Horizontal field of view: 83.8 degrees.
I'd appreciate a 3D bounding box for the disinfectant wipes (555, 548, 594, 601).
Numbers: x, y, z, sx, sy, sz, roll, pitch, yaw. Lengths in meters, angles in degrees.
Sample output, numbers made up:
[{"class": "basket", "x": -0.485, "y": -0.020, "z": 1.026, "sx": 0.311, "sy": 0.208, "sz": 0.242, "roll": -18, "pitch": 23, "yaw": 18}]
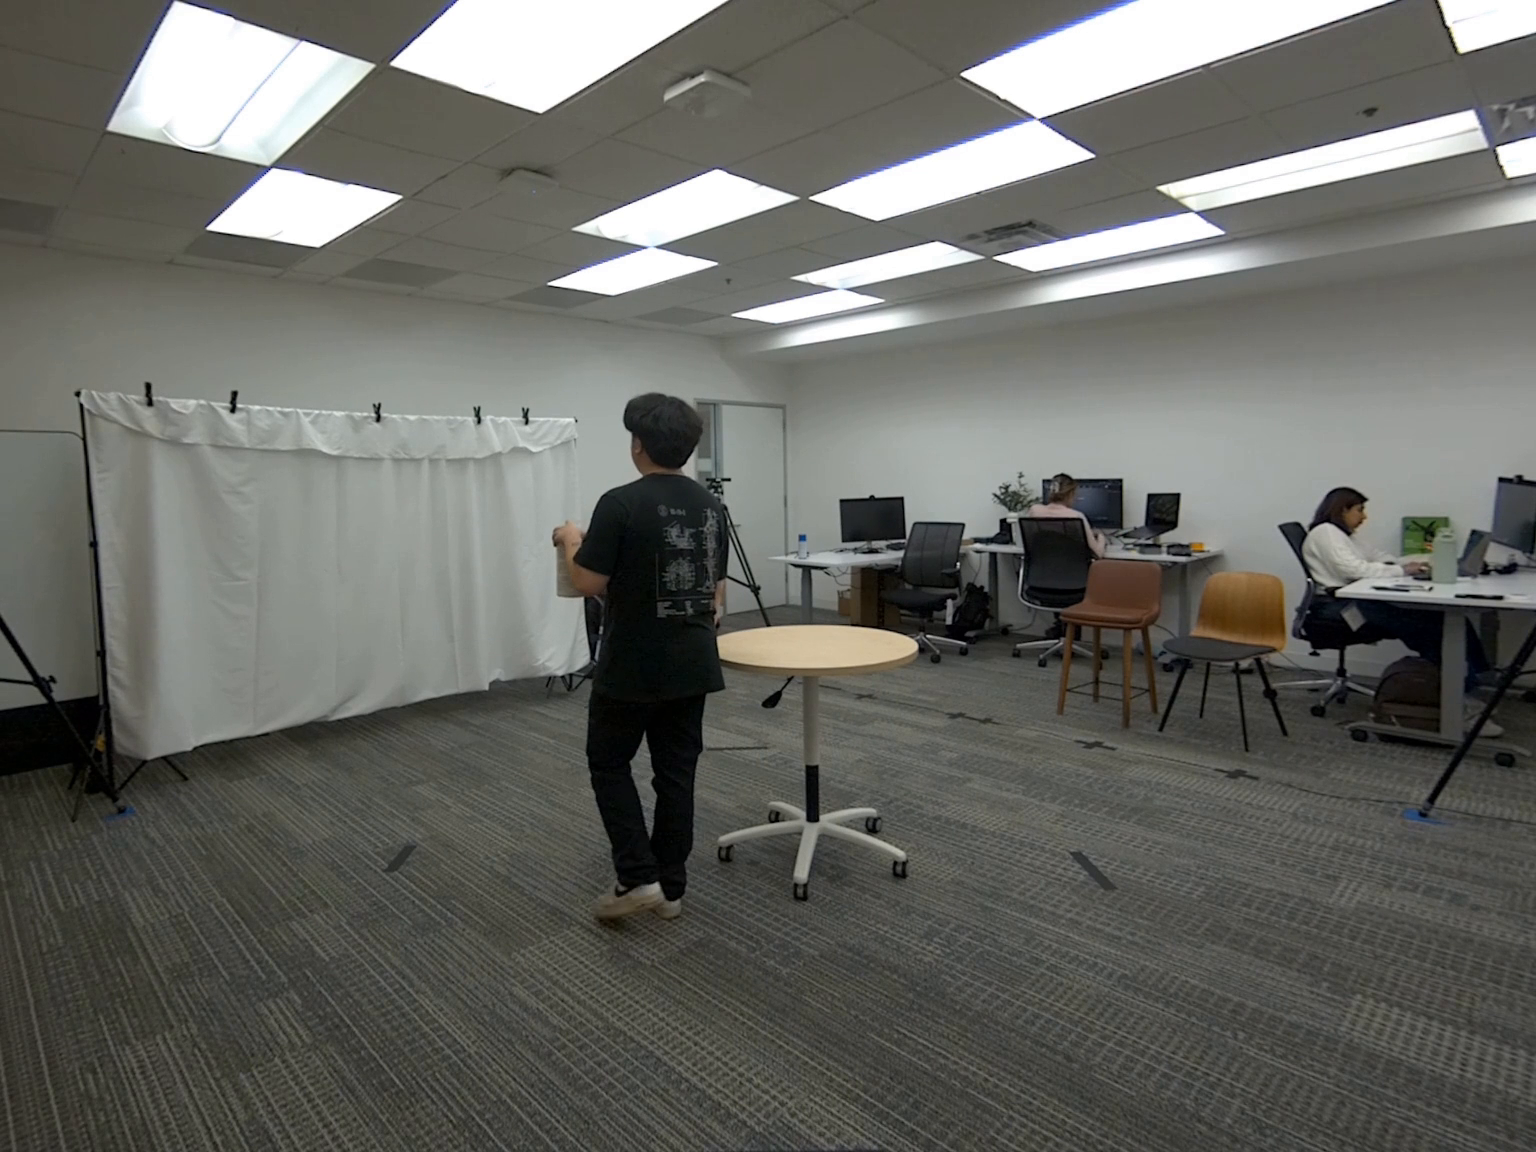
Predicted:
[{"class": "disinfectant wipes", "x": -0.645, "y": -0.036, "z": 2.882, "sx": 0.118, "sy": 0.217, "sz": 0.118, "roll": 0, "pitch": 4, "yaw": -2}]
